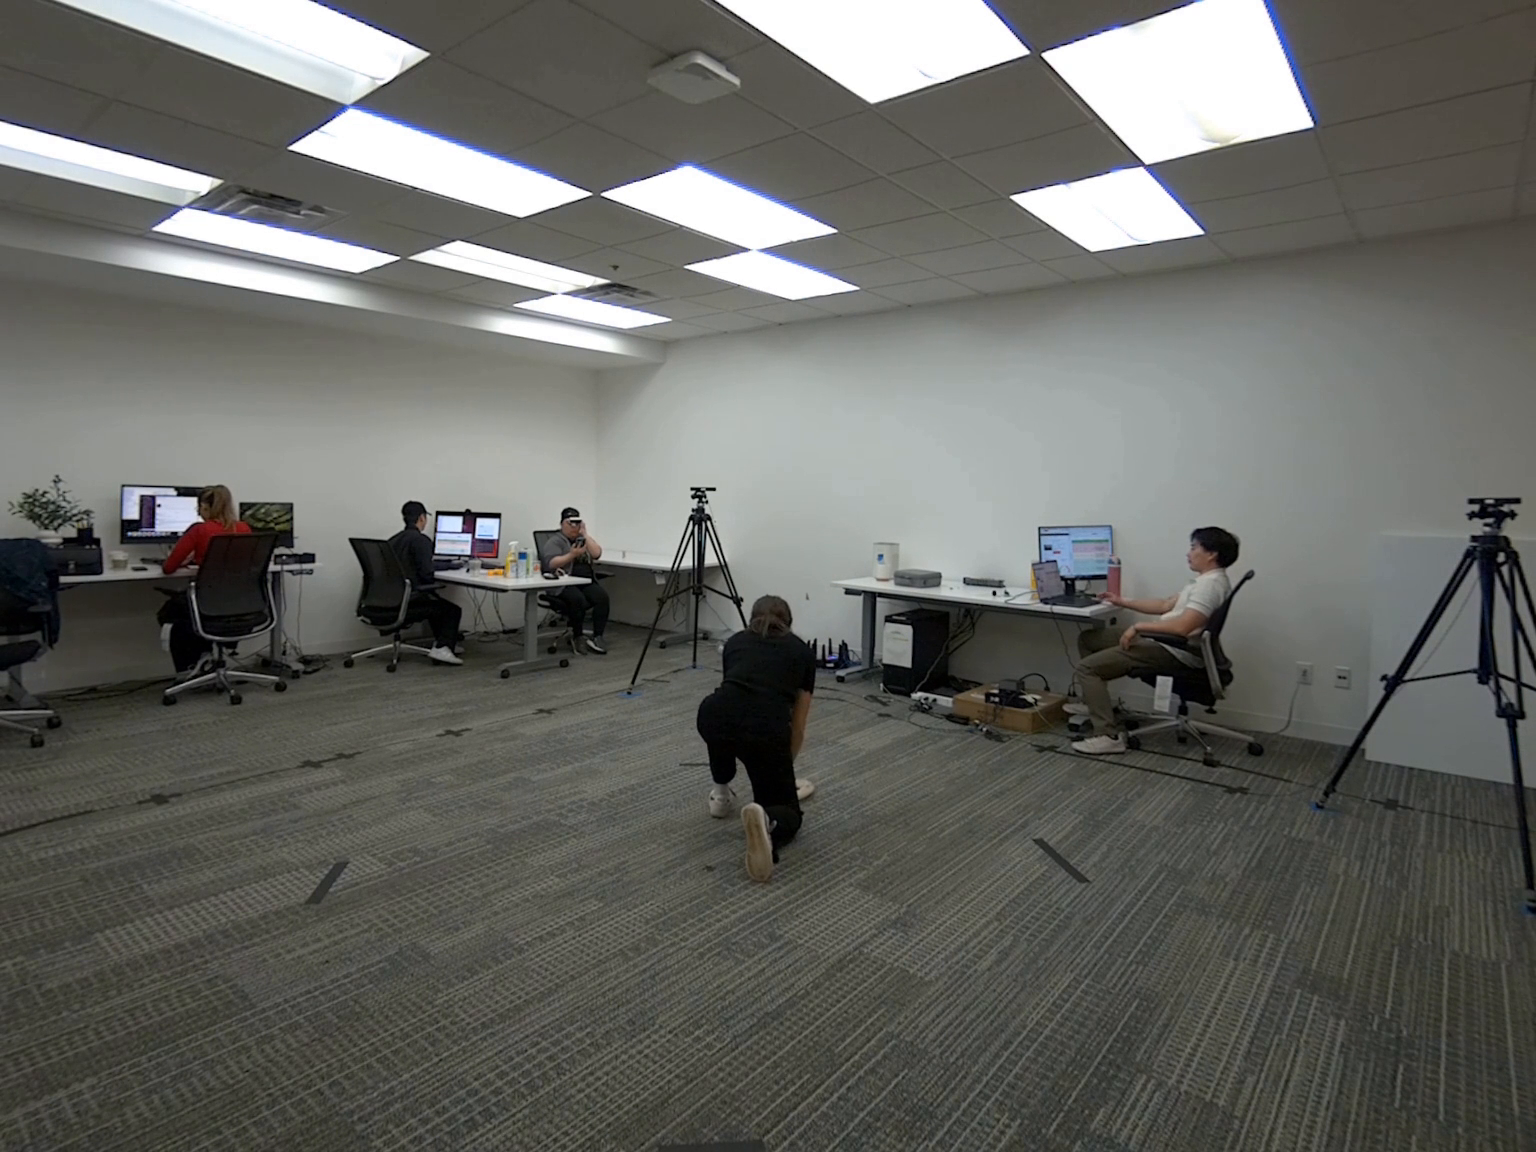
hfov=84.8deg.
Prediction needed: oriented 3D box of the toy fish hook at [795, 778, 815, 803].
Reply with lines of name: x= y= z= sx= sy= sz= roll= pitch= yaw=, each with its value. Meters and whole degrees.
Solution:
toy fish hook: x=0.029 y=0.983 z=3.783 sx=0.230 sy=0.048 sz=0.495 roll=-5 pitch=2 yaw=26
